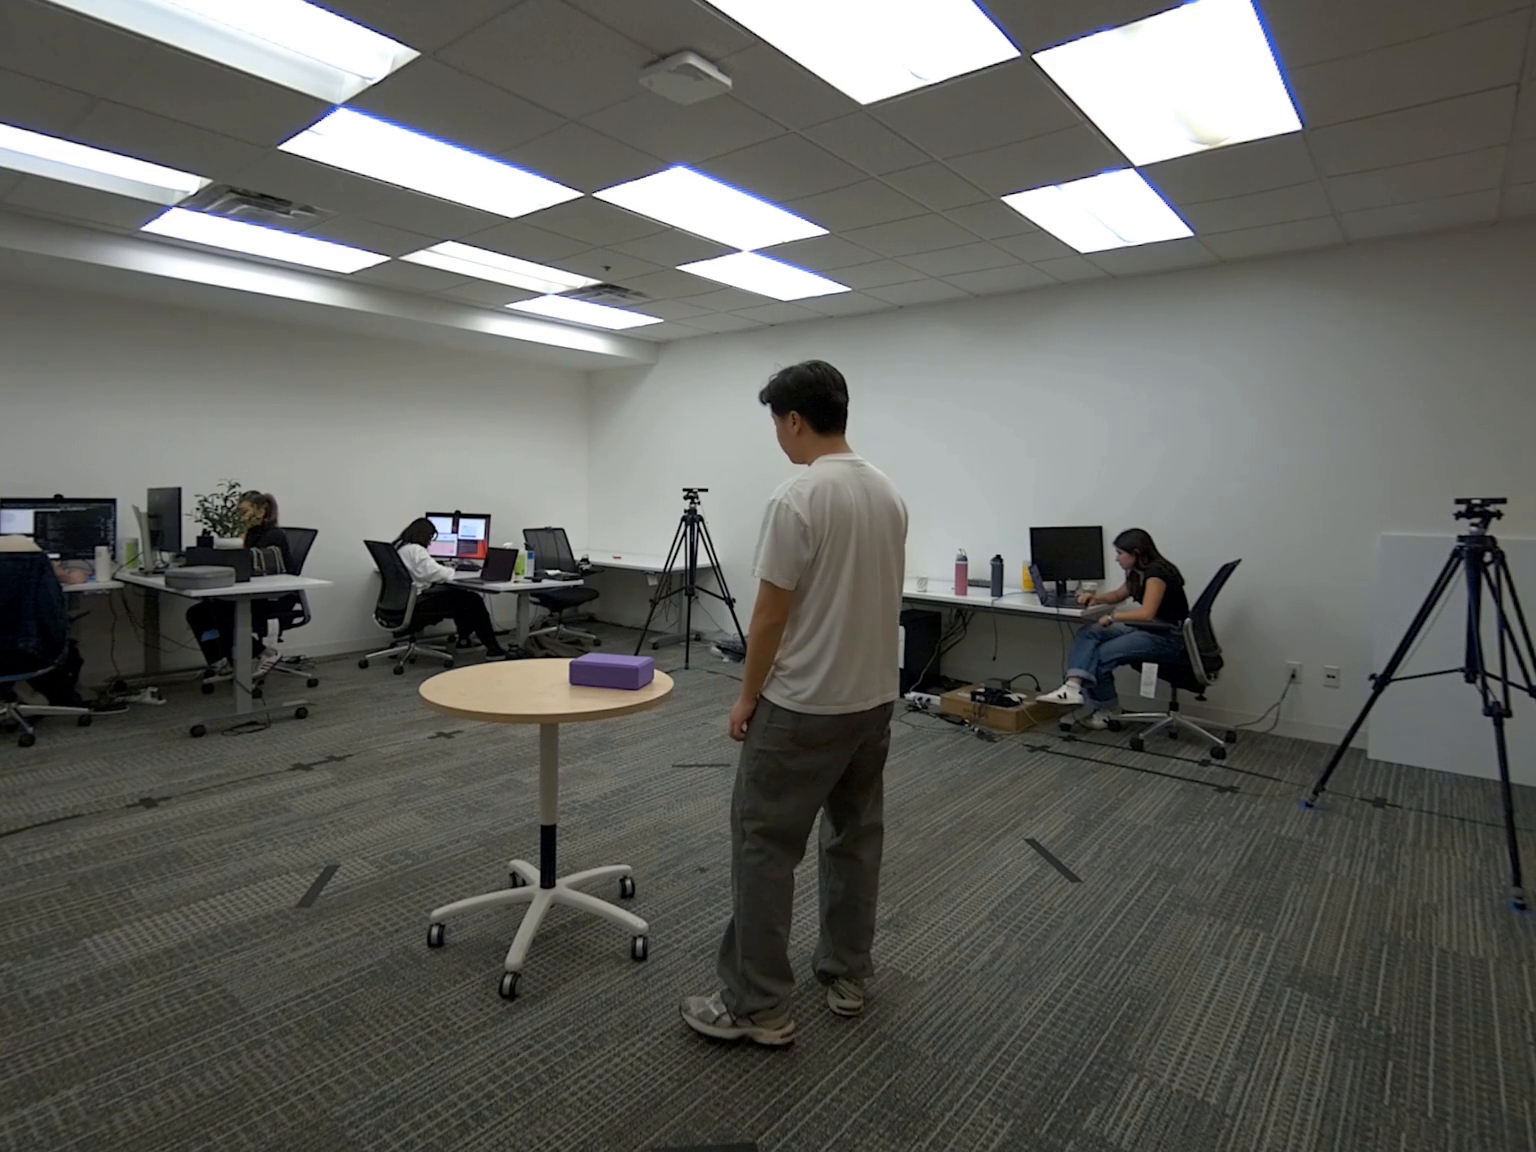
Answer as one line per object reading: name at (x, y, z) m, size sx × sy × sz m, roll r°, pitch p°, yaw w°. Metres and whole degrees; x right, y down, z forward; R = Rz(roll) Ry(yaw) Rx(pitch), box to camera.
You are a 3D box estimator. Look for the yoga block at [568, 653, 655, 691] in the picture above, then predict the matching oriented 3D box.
yoga block at (-0.488, 0.288, 2.634) m, size 0.233 × 0.076 × 0.147 m, roll 2°, pitch 5°, yaw 15°
